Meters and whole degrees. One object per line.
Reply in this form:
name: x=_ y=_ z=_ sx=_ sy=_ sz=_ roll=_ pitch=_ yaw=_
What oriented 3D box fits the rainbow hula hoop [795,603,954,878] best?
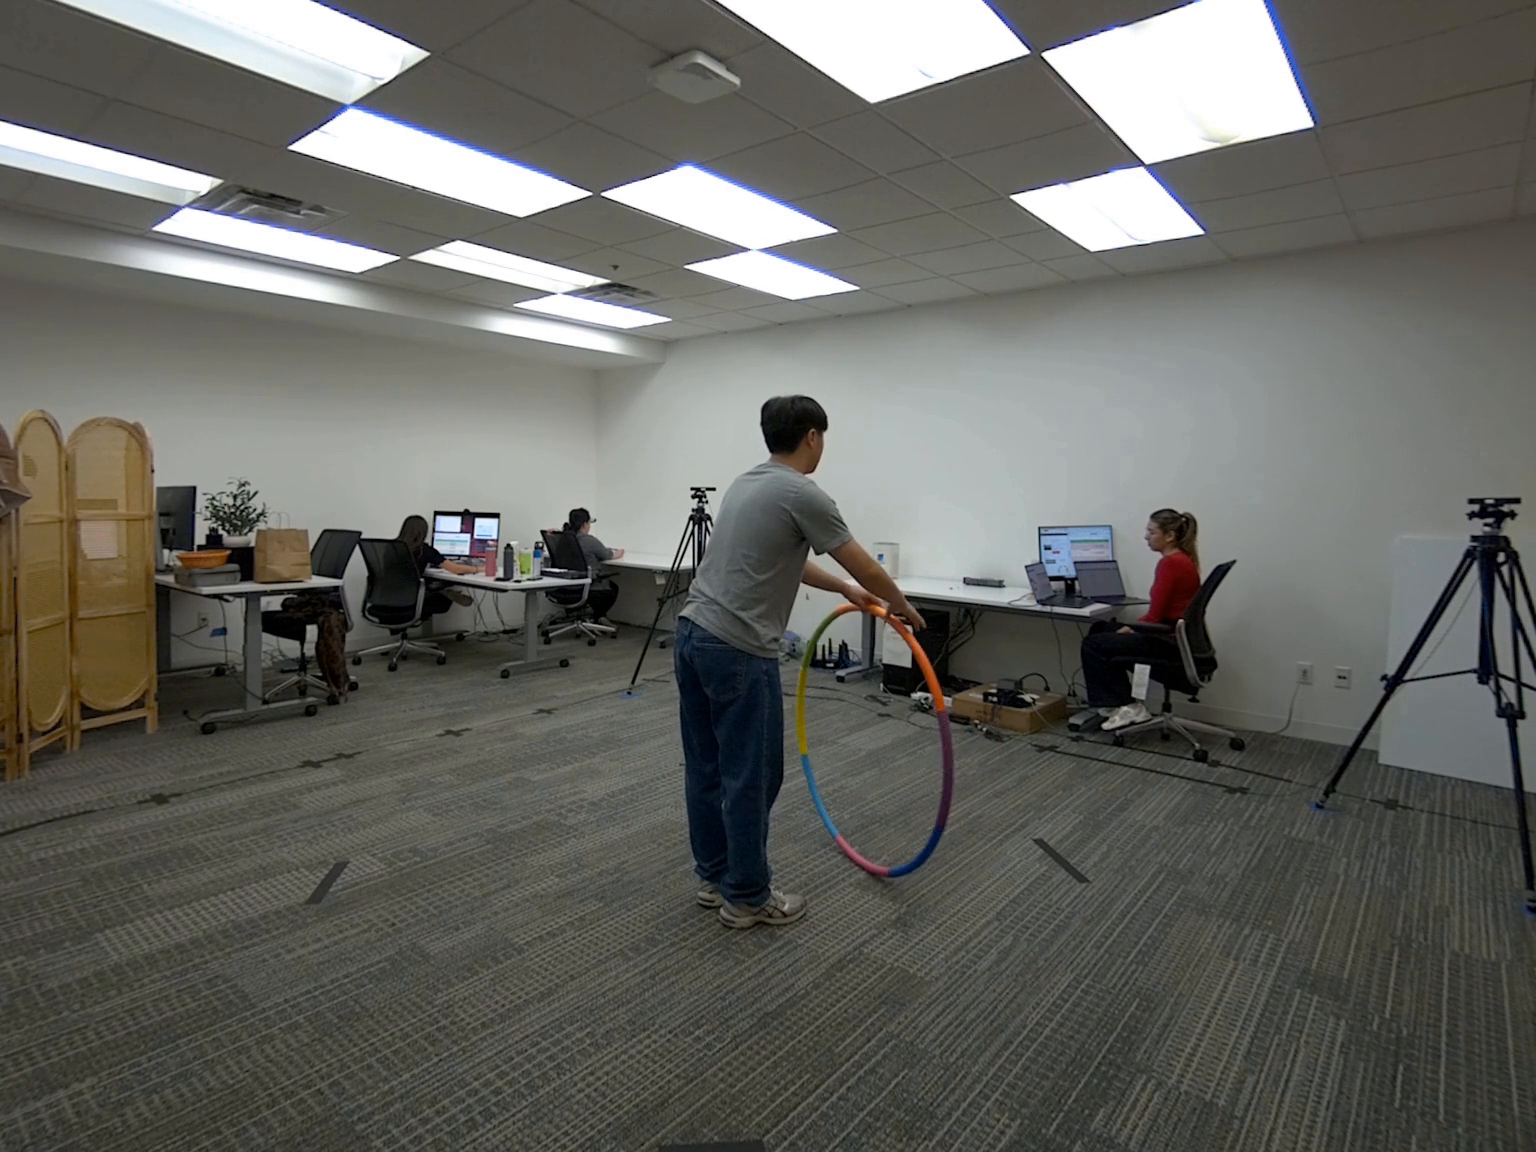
rainbow hula hoop: x=0.348 y=0.588 z=3.141 sx=0.035 sy=0.975 sz=1.005 roll=-2 pitch=5 yaw=-26
